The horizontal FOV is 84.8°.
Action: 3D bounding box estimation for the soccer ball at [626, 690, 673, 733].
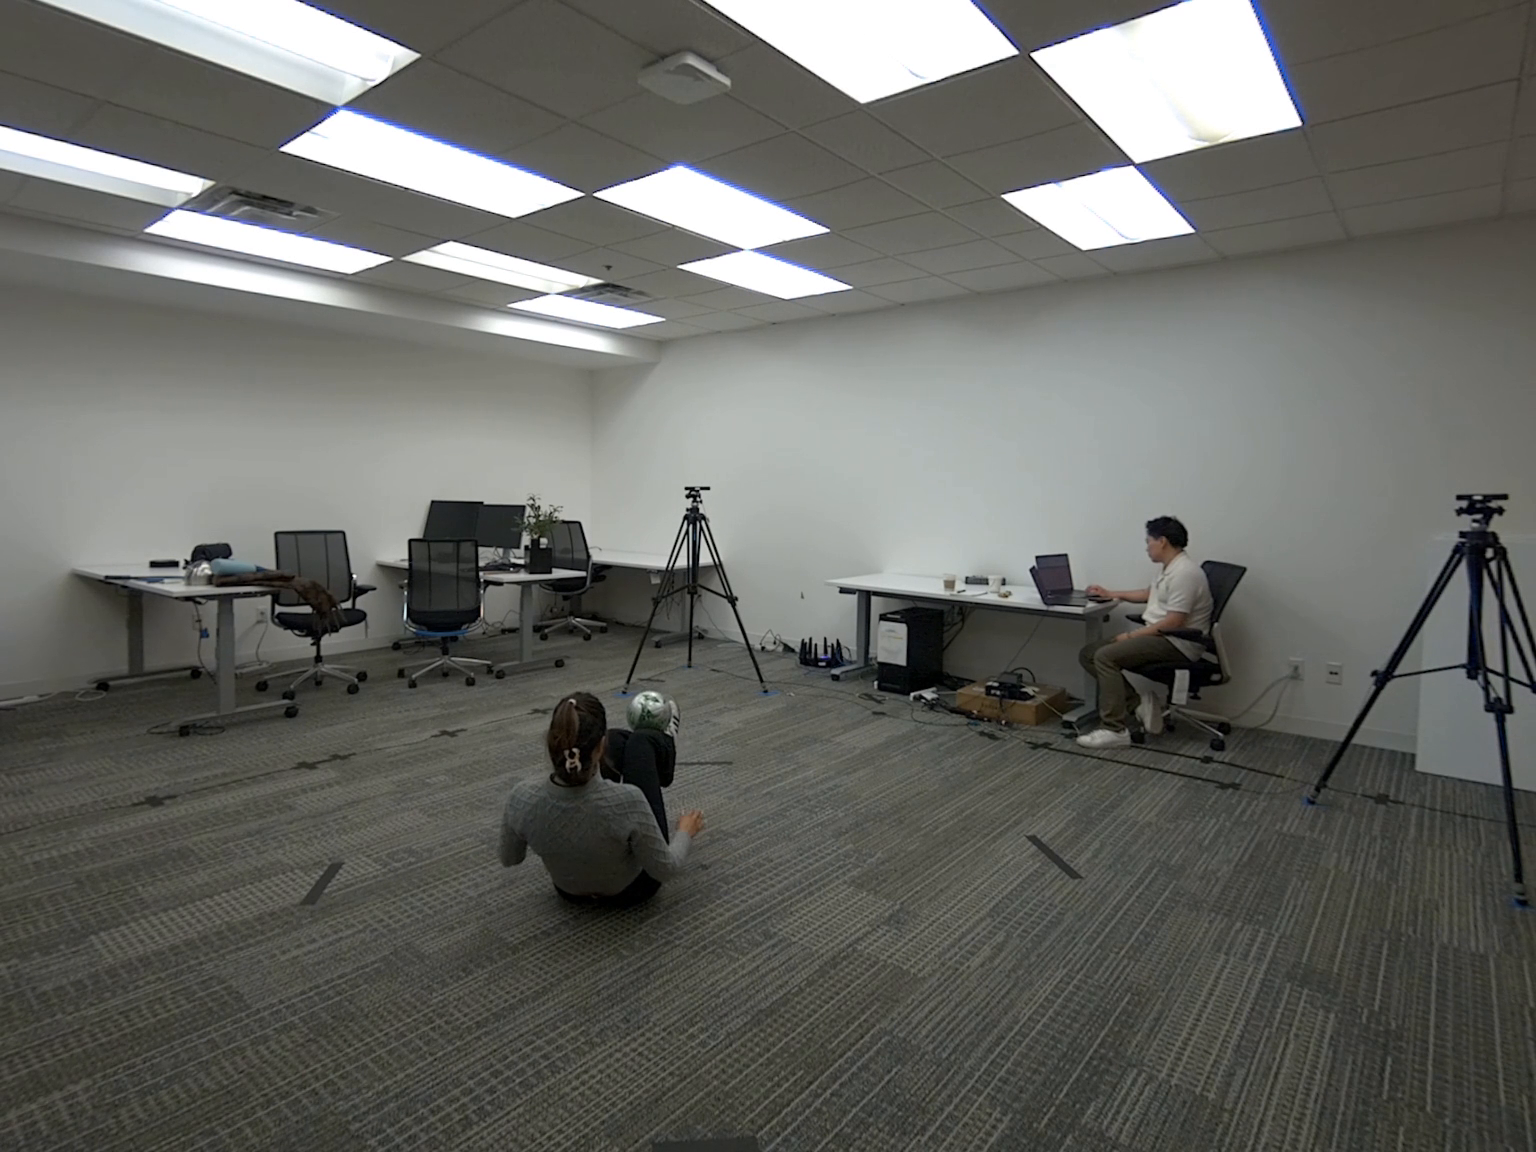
[{"bbox_3d":[-0.494,0.561,3.465,0.187,0.187,0.188,0,4,-2],"label":"soccer ball"}]
